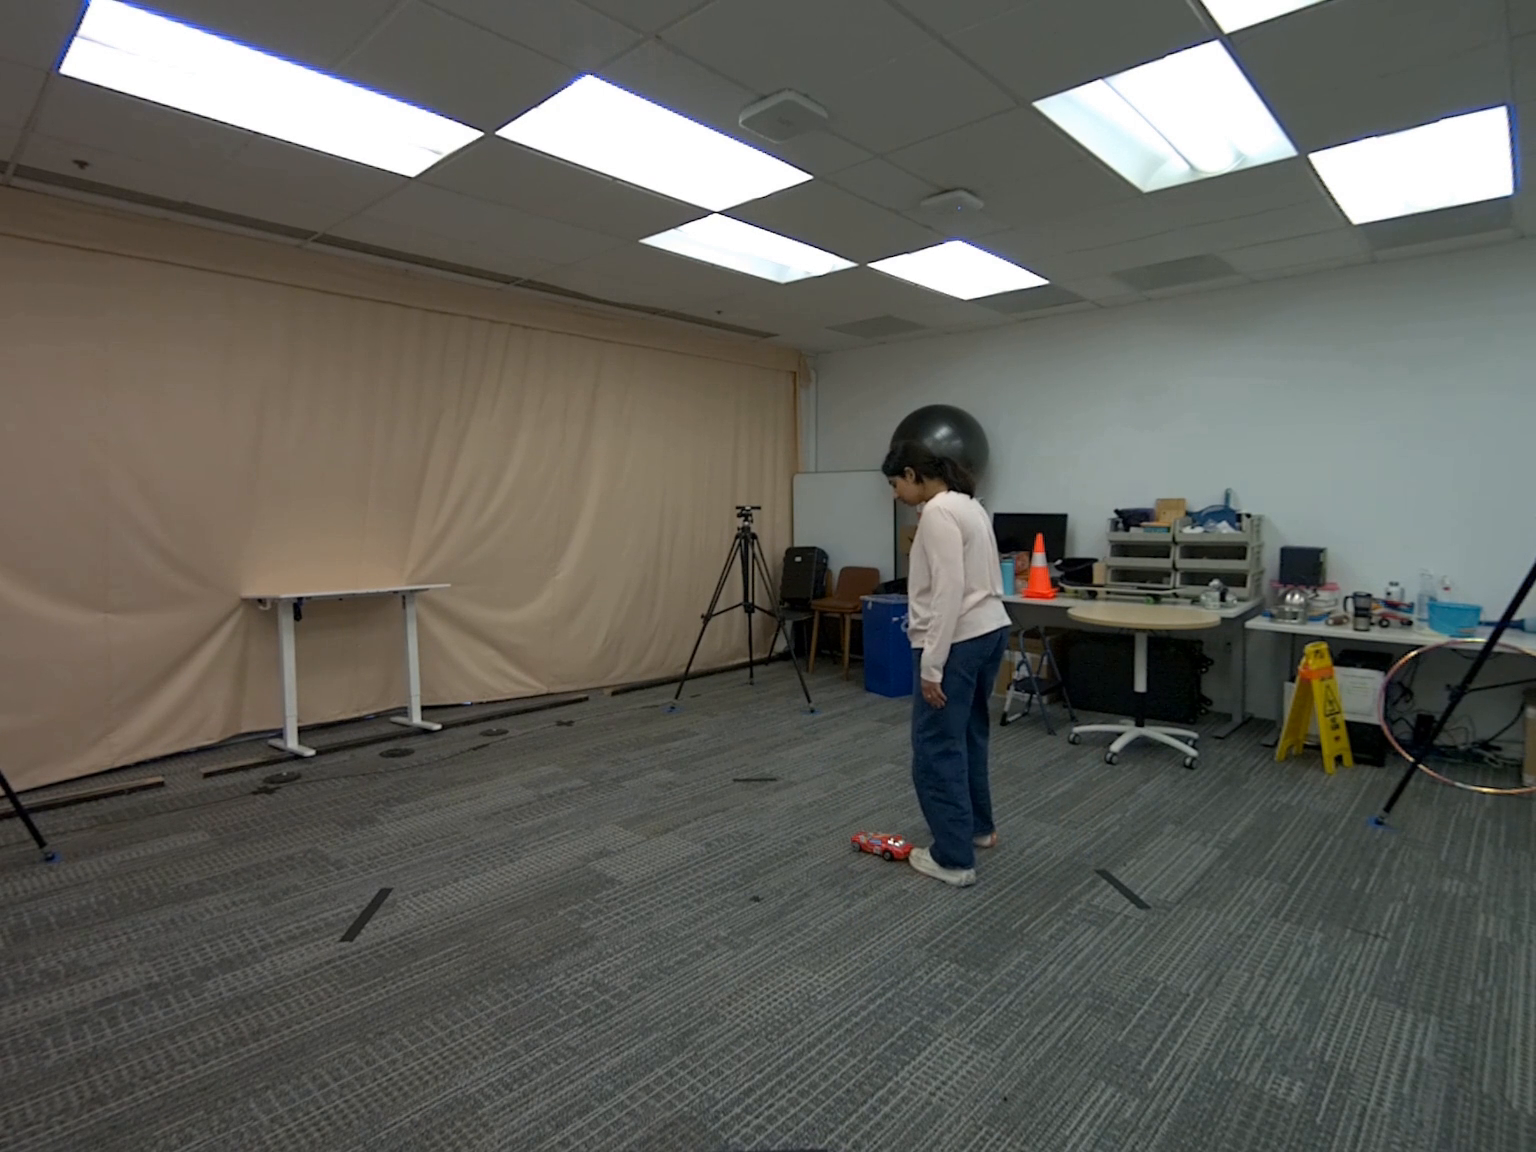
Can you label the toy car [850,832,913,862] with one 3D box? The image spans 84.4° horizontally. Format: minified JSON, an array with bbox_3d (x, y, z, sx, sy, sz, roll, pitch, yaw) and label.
[{"bbox_3d":[0.465,1.079,3.372,0.262,0.083,0.126,-10,-4,40],"label":"toy car"}]
